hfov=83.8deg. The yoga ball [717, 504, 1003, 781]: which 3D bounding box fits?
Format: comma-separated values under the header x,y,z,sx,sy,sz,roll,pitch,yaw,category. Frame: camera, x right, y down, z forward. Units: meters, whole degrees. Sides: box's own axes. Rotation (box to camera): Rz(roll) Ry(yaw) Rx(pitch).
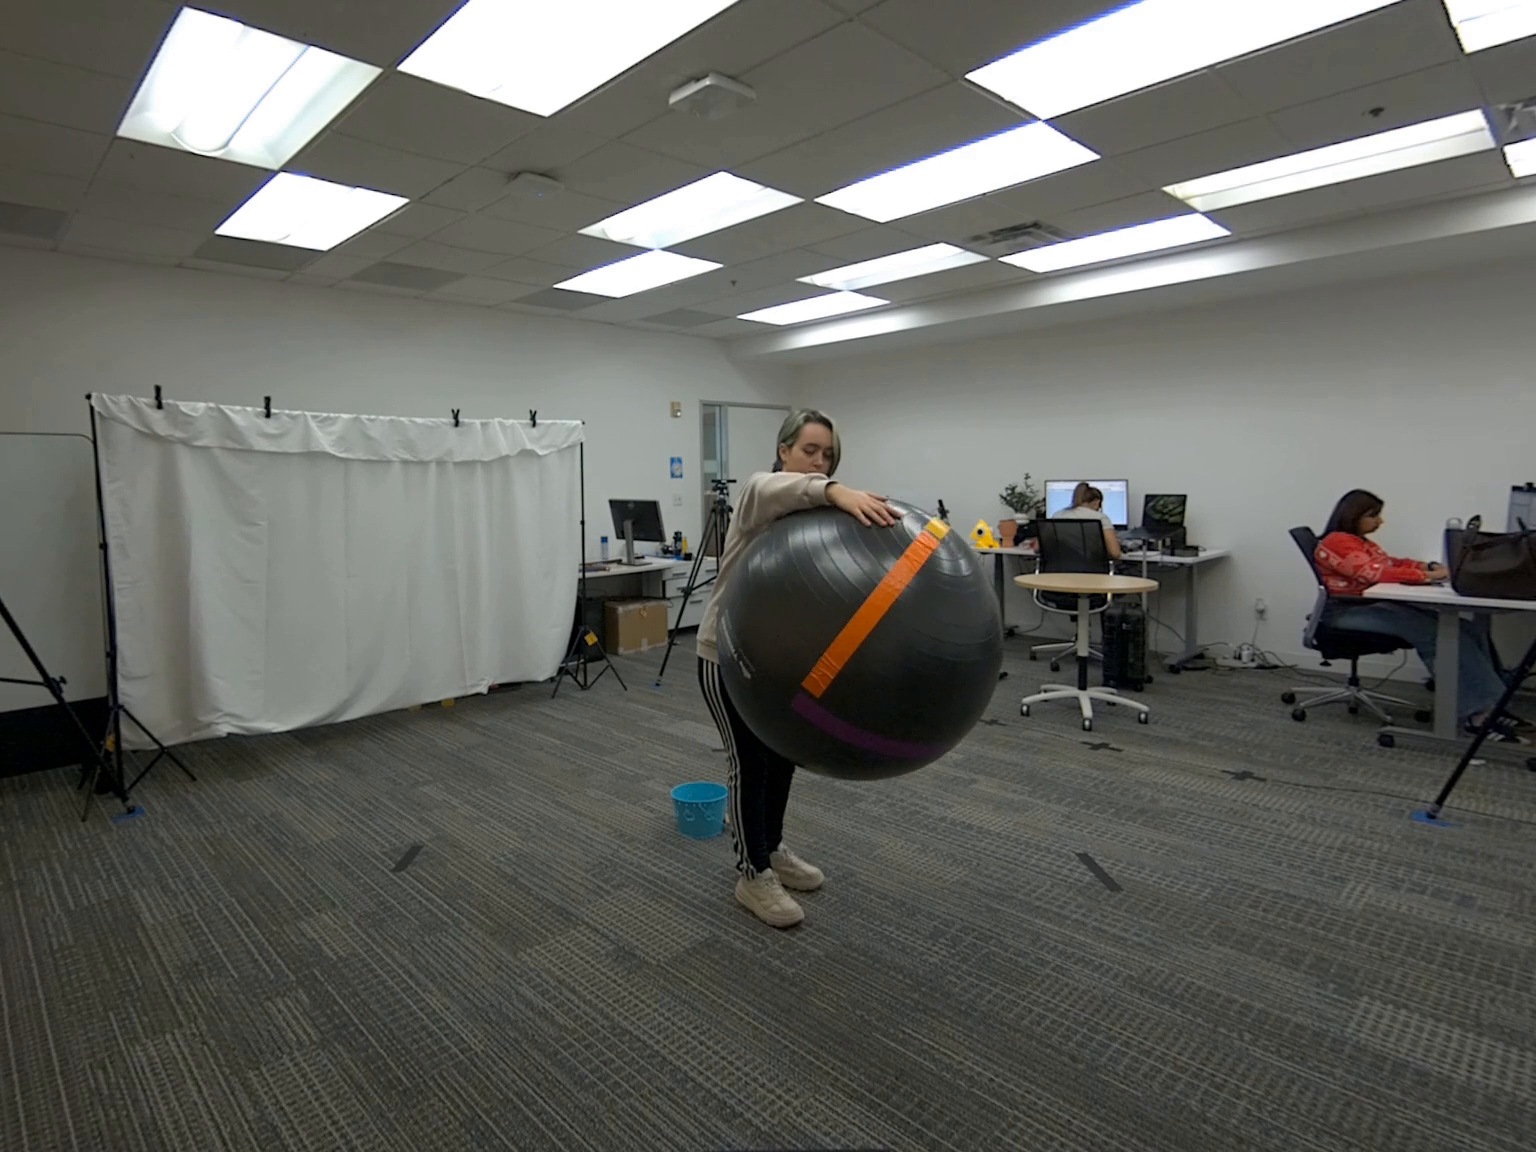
x,y,z,sx,sy,sz,roll,pitch,yaw,category
0.243,0.162,2.288,0.757,0.755,0.762,-1,5,-2,yoga ball
